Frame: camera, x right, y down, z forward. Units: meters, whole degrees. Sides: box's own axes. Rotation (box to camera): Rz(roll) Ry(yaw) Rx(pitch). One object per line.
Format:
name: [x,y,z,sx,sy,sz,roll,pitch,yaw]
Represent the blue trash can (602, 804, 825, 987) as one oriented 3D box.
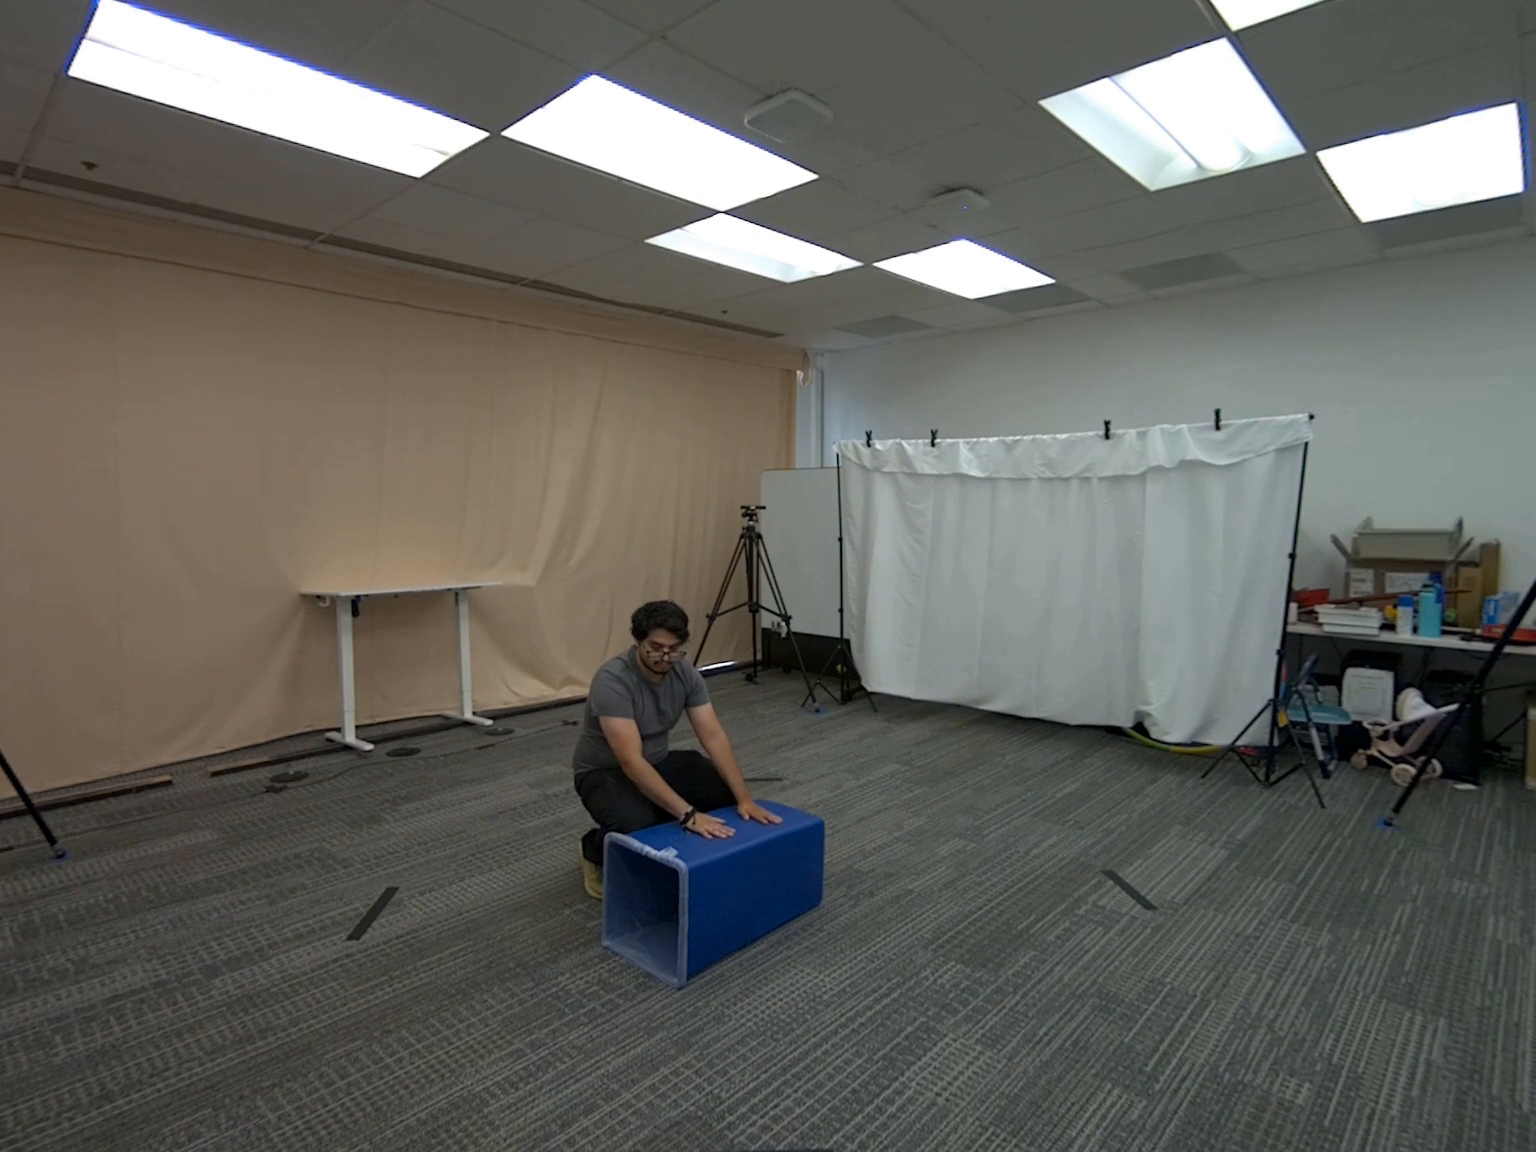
blue trash can: [-0.142,0.988,2.783,0.386,0.377,0.691,3,4,43]
